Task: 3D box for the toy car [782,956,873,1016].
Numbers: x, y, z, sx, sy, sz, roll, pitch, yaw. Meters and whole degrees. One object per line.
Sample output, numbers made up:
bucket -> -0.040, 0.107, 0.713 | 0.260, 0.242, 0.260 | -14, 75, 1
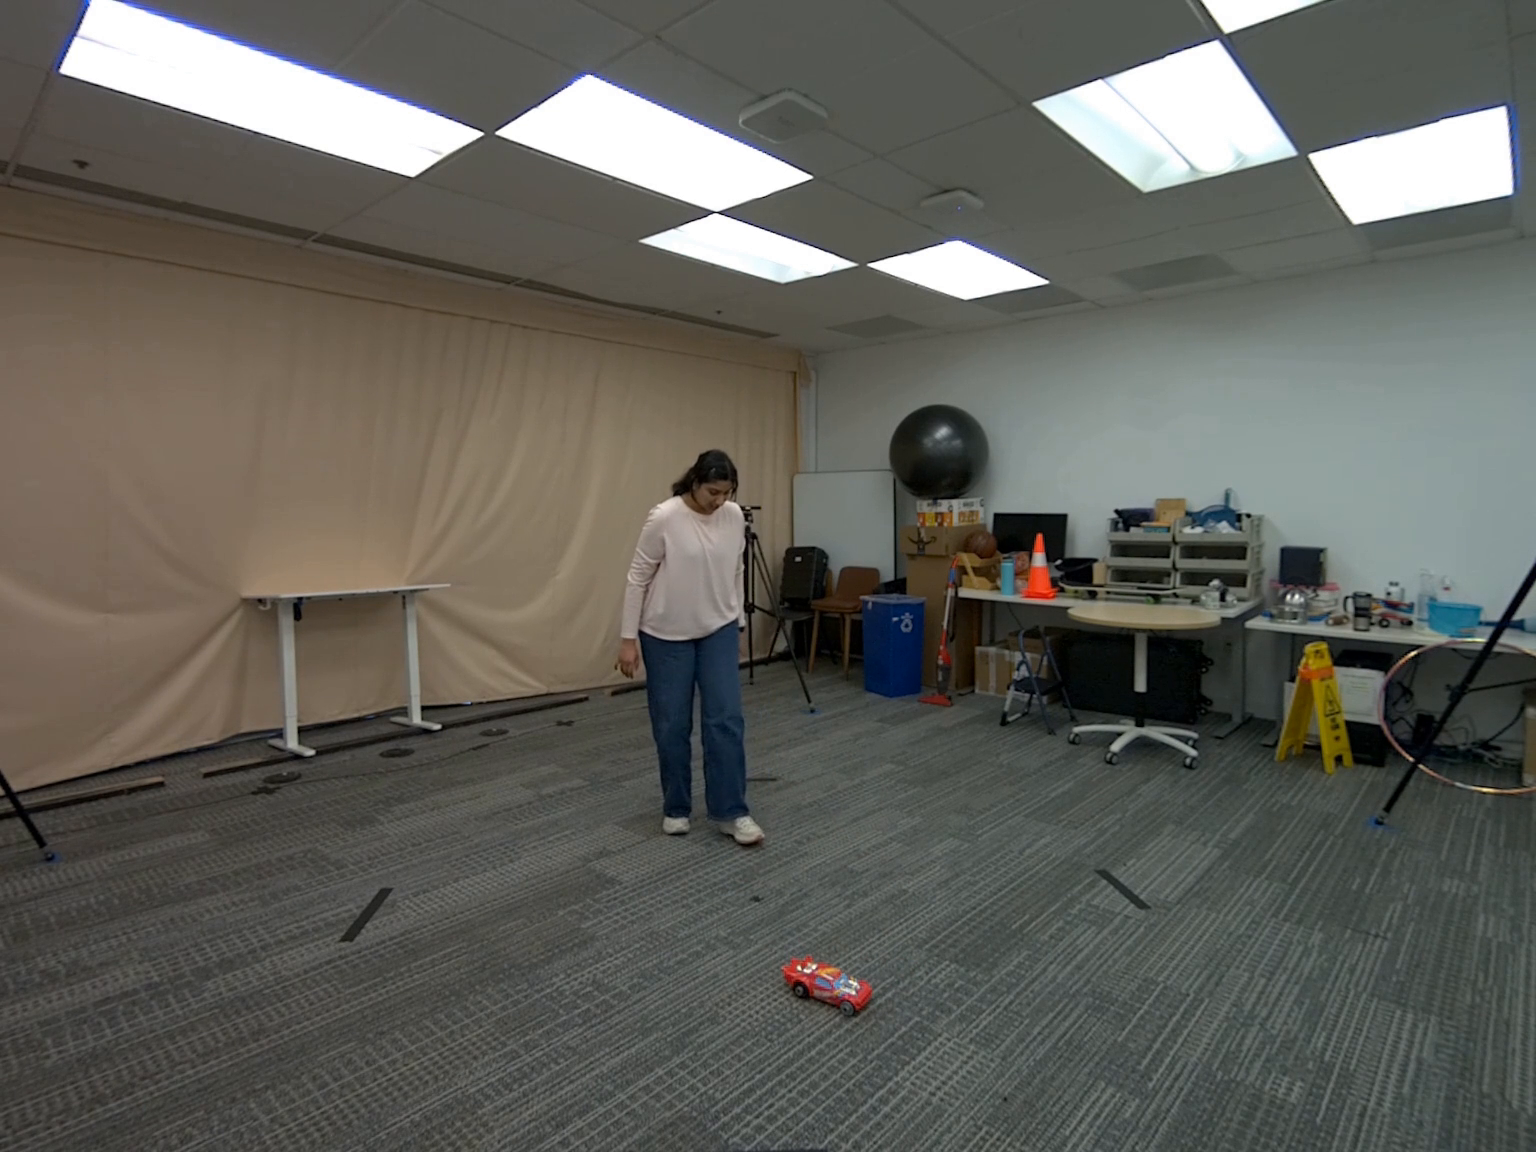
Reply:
toy car -> 0.168, 1.163, 2.389 | 0.263, 0.083, 0.126 | 16, 12, 33
